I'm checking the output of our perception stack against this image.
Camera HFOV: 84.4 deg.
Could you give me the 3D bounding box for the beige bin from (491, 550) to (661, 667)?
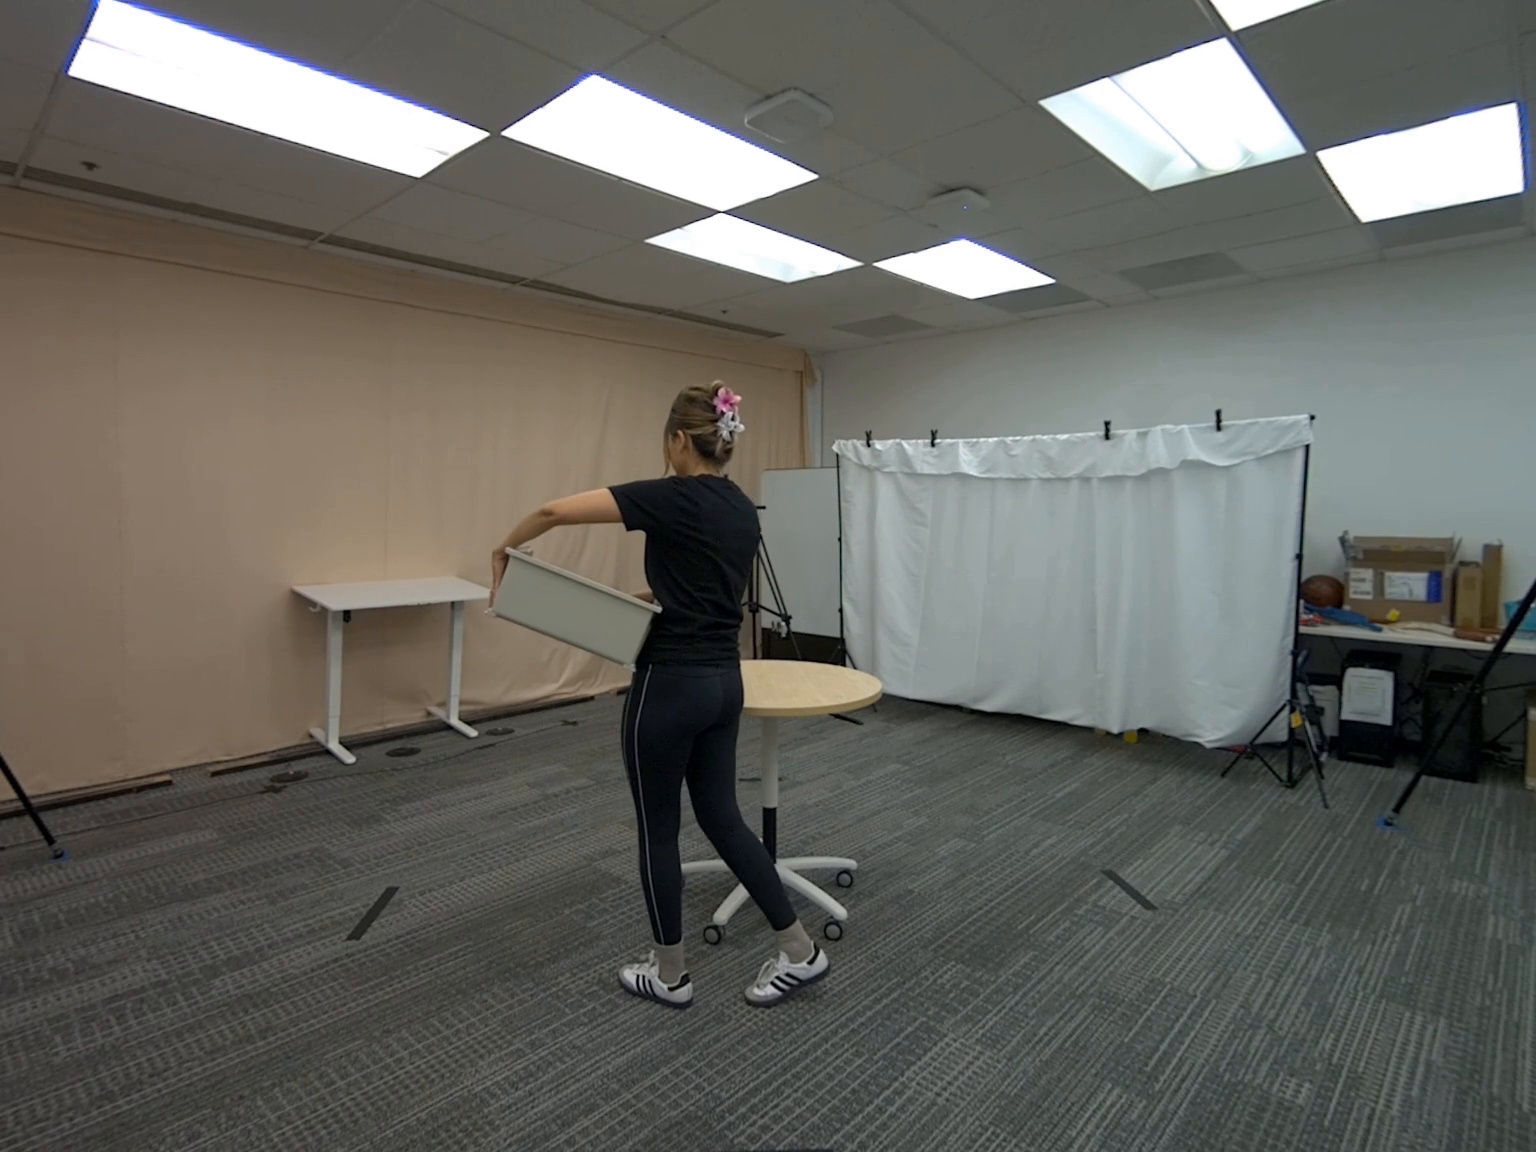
[{"bbox_3d":[-0.515,0.079,2.316,0.420,0.189,0.379,23,2,-5],"label":"beige bin"}]
